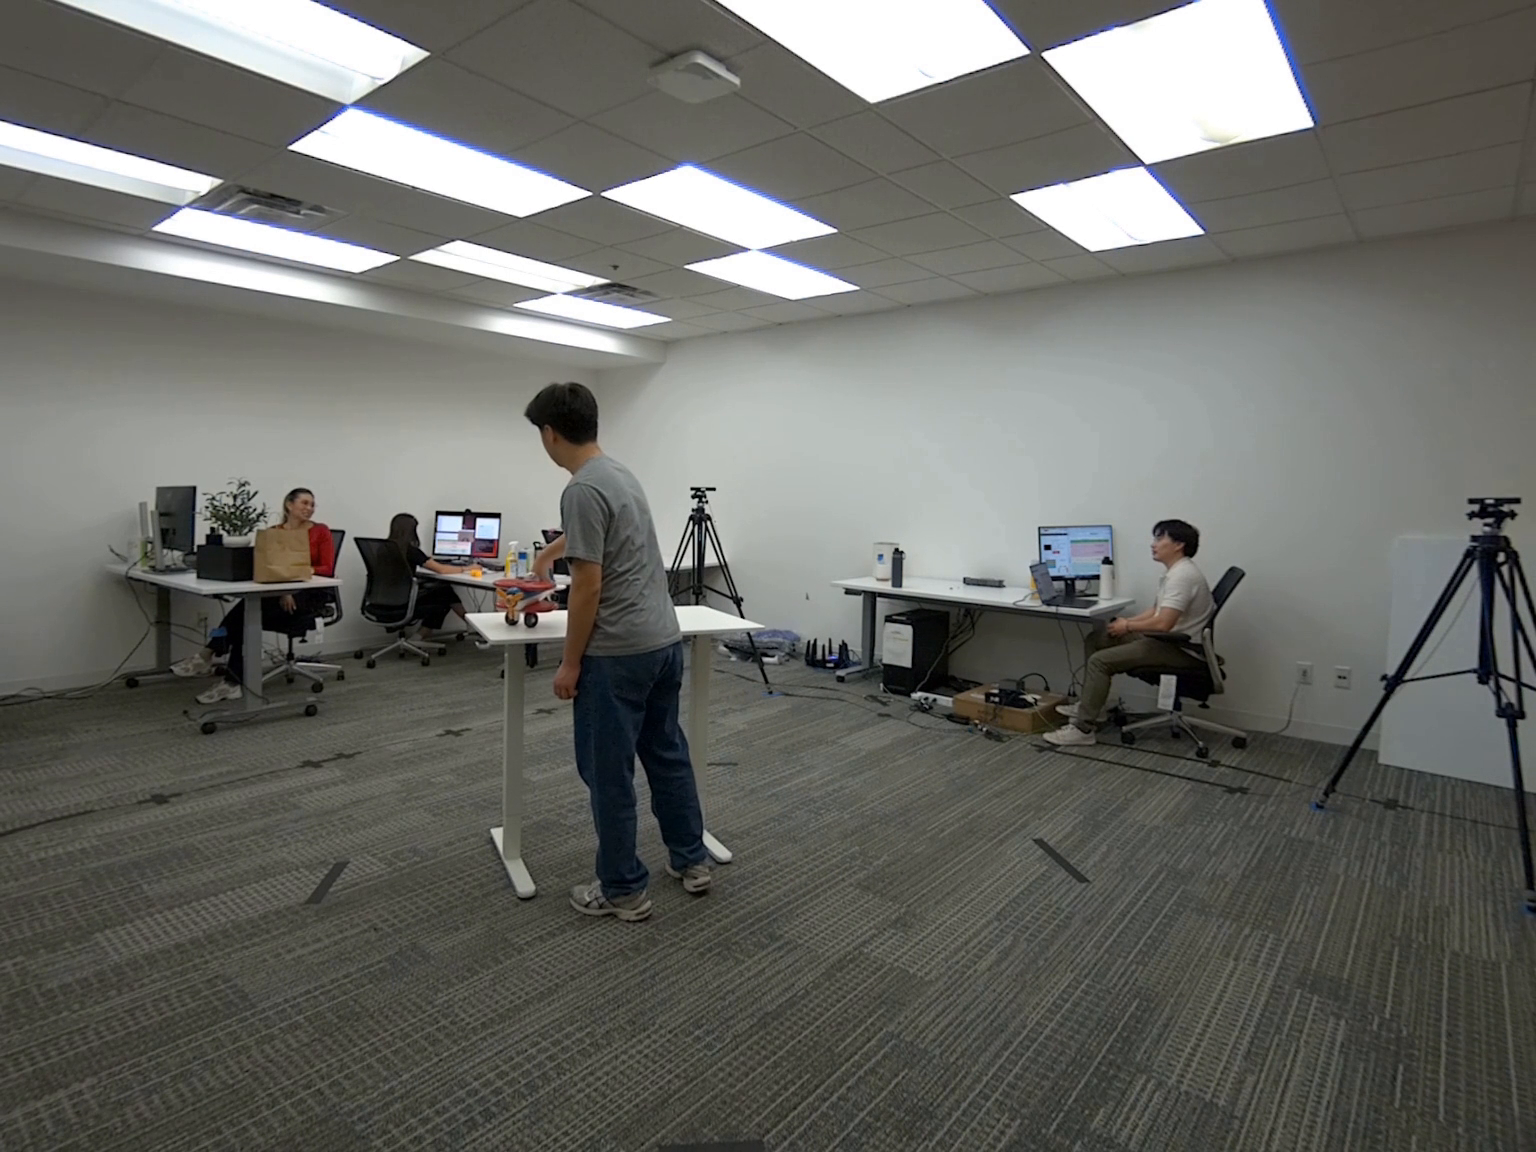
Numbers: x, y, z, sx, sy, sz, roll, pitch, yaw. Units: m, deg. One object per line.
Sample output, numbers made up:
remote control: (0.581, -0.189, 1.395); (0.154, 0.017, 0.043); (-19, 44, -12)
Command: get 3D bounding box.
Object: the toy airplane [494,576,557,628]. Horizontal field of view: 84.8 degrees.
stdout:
toy airplane: (-0.881, 0.069, 3.086); (0.251, 0.152, 0.266); (-8, 25, 0)
